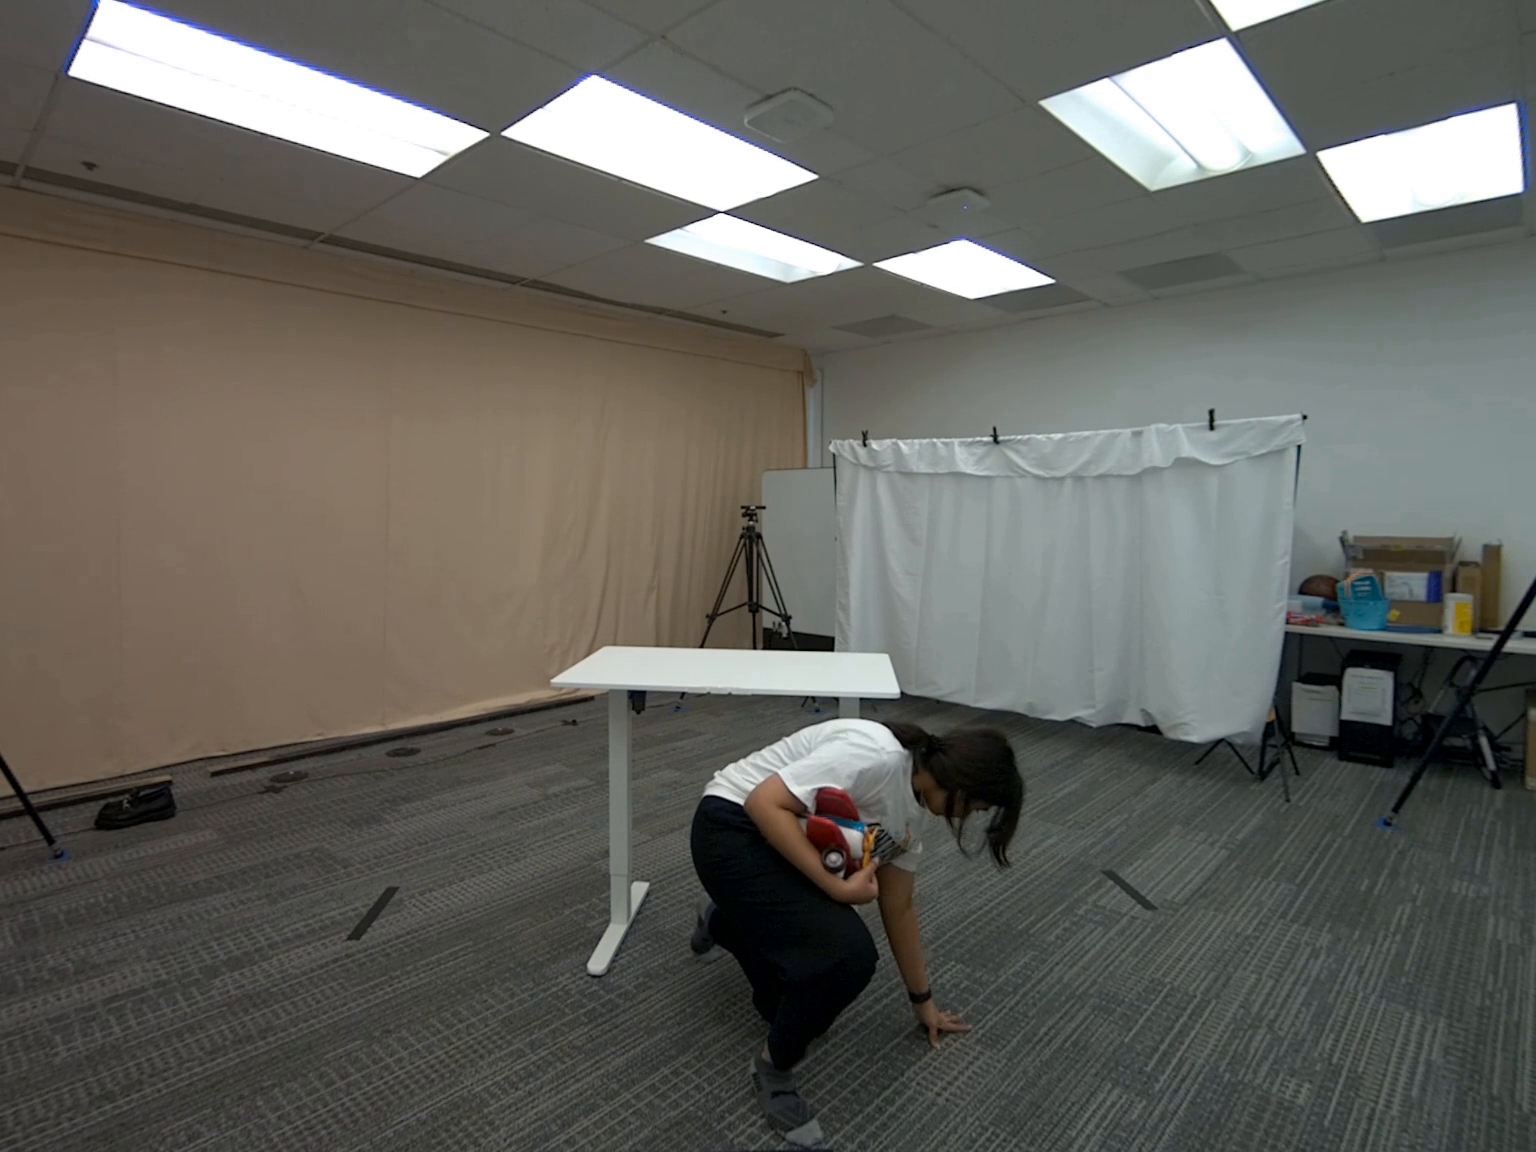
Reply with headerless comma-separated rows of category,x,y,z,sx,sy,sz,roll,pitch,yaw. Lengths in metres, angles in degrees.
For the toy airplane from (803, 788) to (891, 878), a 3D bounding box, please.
toy airplane,0.132,0.573,1.956,0.261,0.156,0.250,28,-29,3
